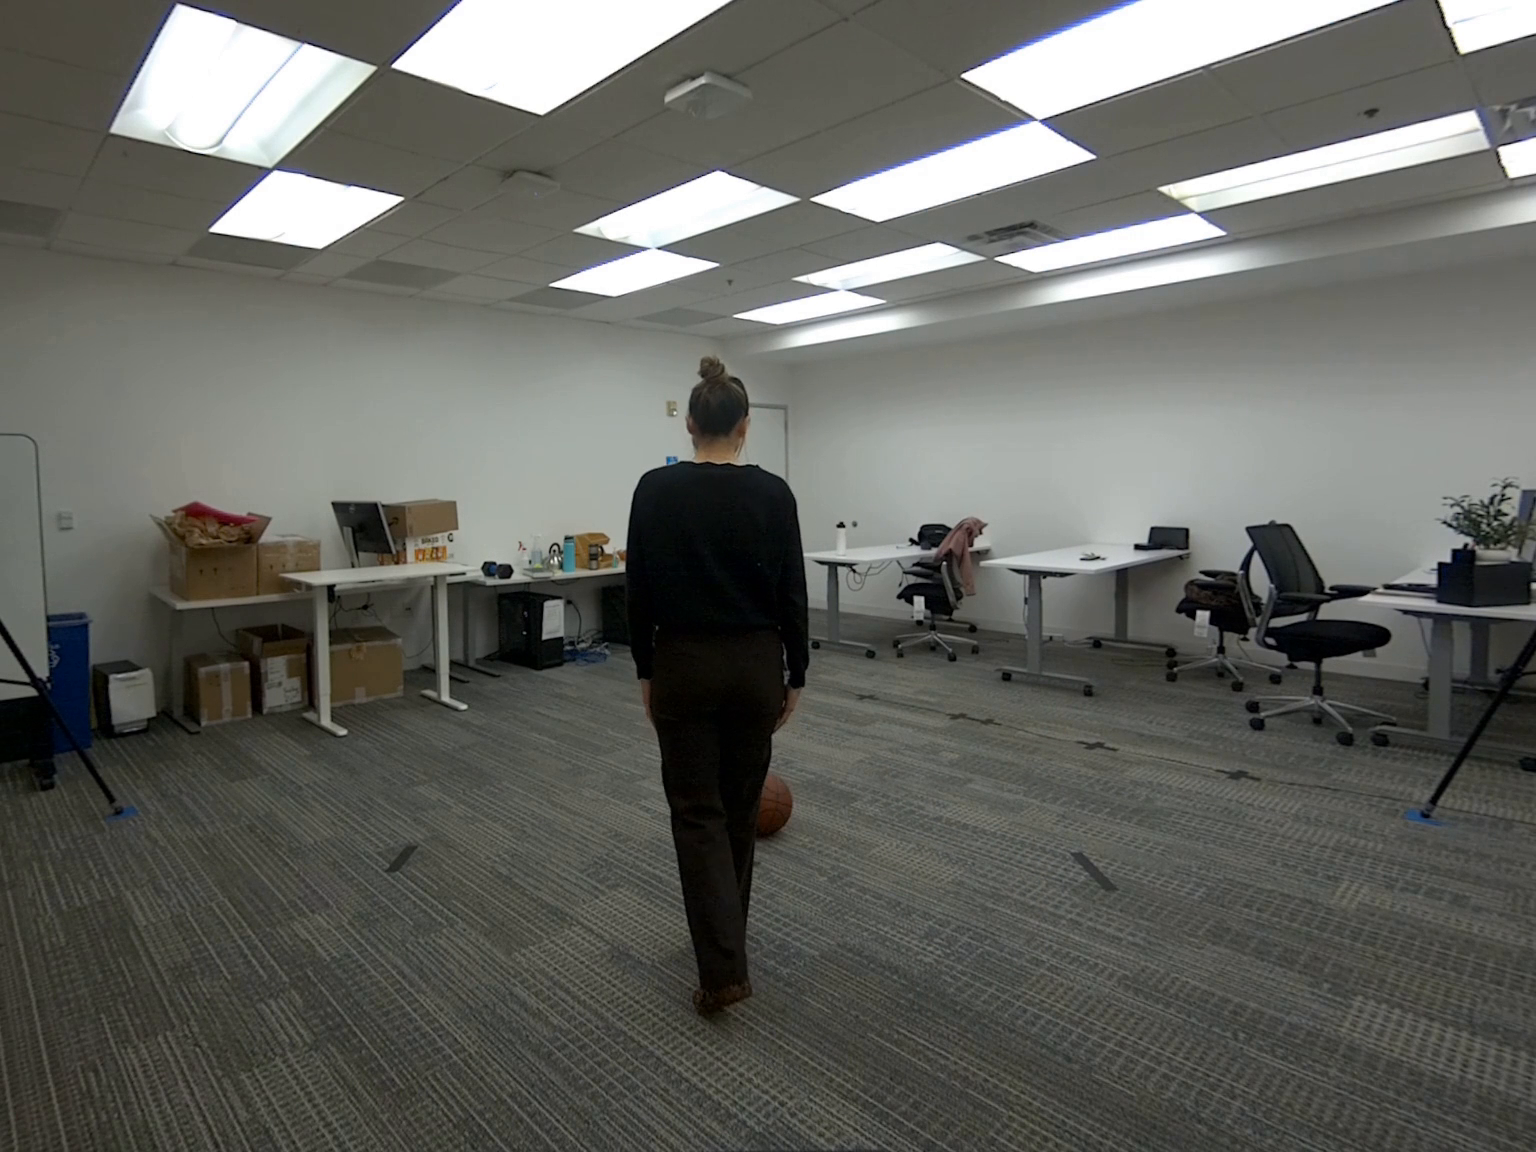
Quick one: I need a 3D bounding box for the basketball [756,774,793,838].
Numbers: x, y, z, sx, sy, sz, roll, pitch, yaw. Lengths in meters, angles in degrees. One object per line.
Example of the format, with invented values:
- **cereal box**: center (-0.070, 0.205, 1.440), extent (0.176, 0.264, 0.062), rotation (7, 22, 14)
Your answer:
- **basketball**: center (-0.020, 0.897, 3.371), extent (0.236, 0.235, 0.237), rotation (-1, 5, -2)
